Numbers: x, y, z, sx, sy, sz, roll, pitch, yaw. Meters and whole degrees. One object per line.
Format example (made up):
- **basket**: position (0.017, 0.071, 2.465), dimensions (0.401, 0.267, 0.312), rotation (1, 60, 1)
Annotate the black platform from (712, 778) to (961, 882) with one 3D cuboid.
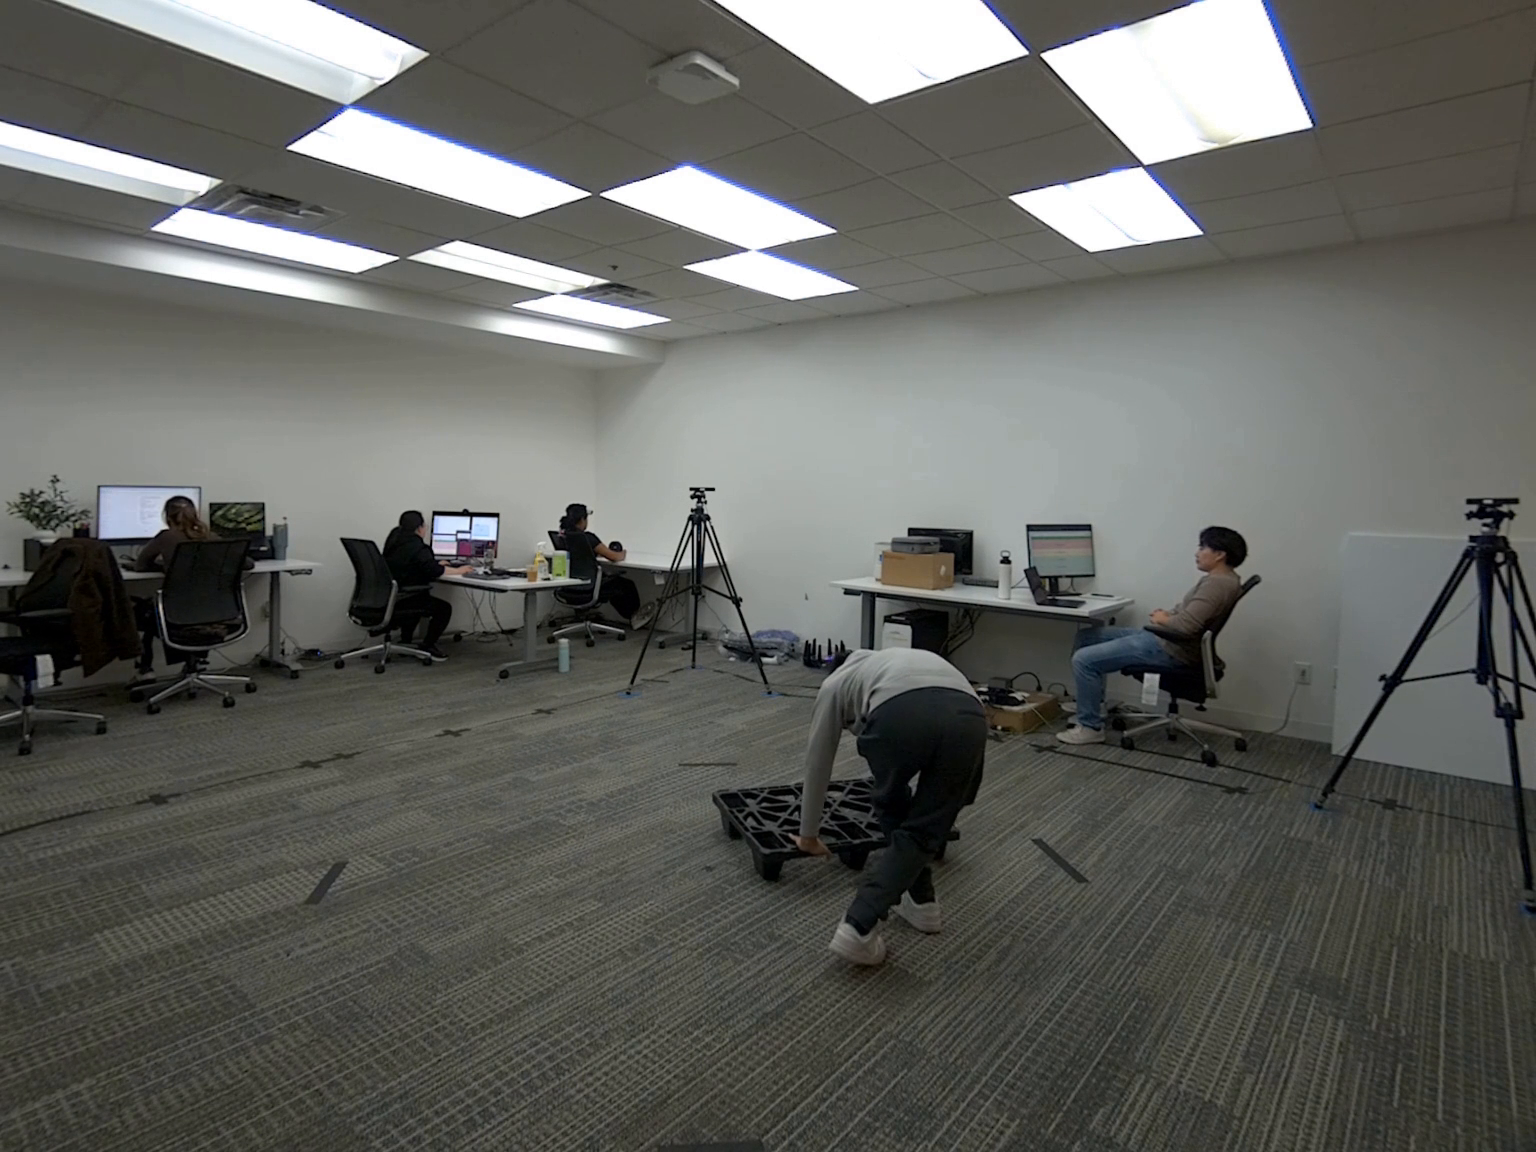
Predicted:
- **black platform**: position (0.230, 0.980, 3.351), dimensions (0.790, 0.143, 0.620), rotation (-1, 6, -20)
